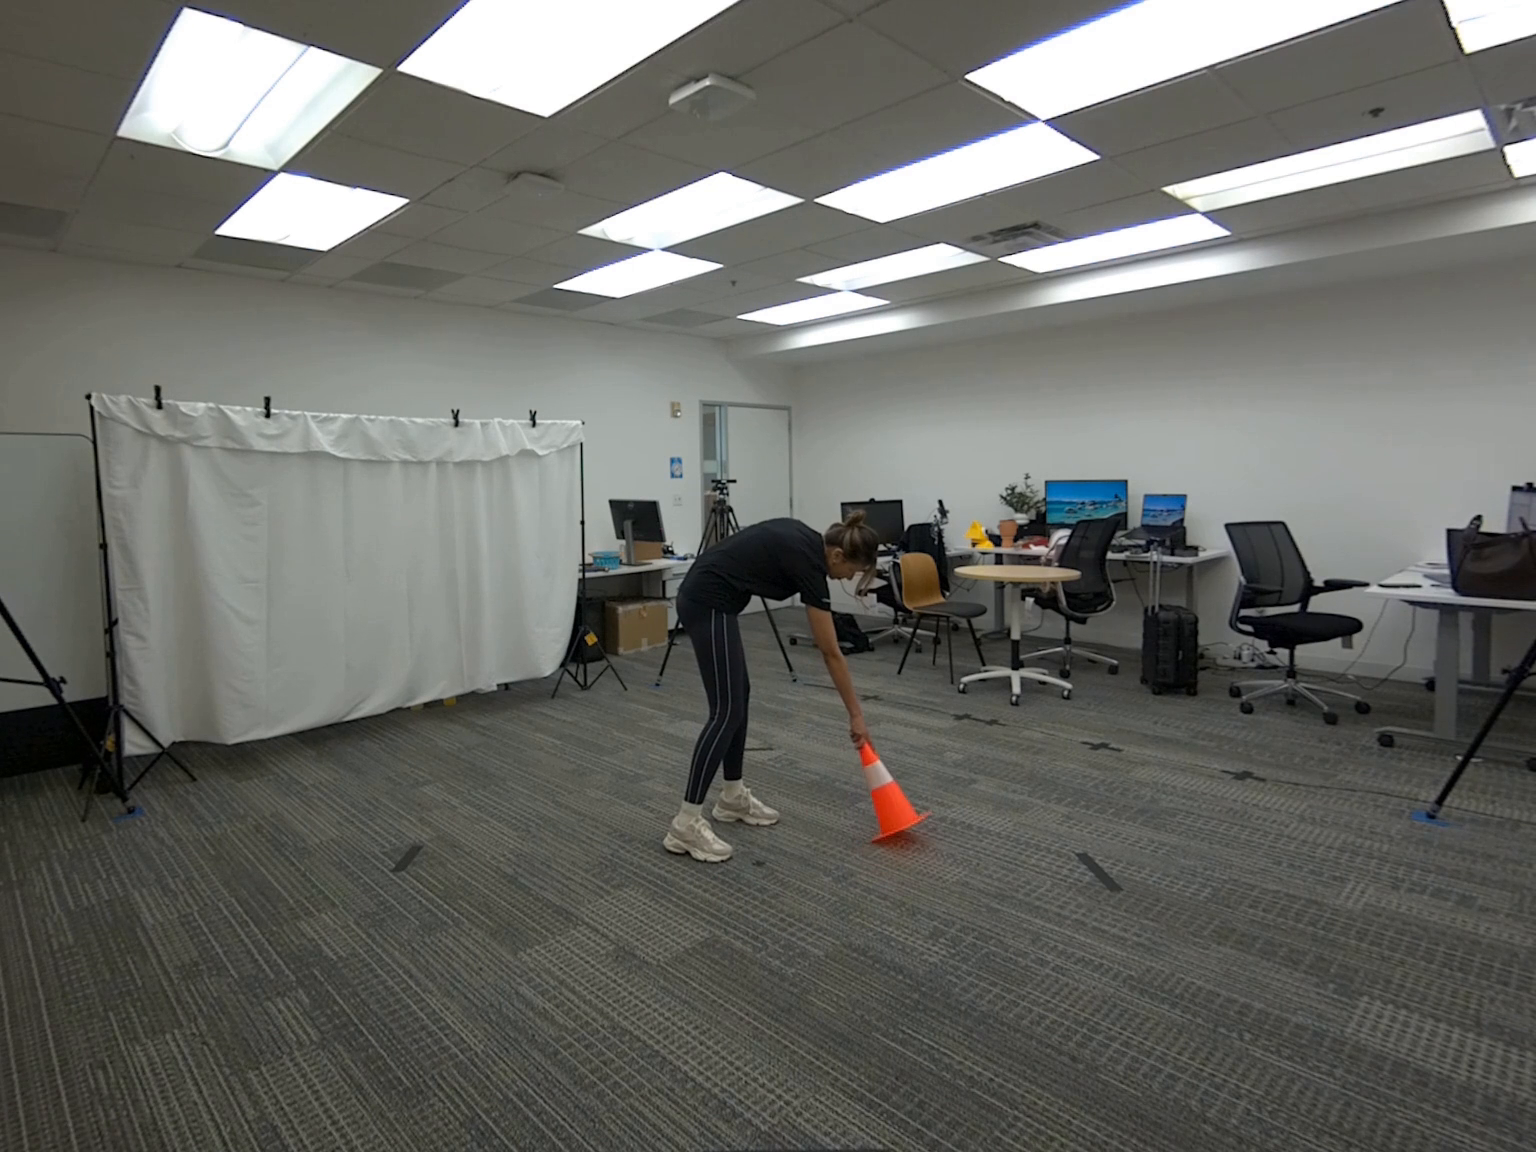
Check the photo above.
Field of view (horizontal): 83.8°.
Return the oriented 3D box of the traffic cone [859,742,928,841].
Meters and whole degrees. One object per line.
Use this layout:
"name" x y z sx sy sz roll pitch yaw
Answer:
"traffic cone" 0.431 0.805 3.350 0.206 0.391 0.198 -35 -19 33
